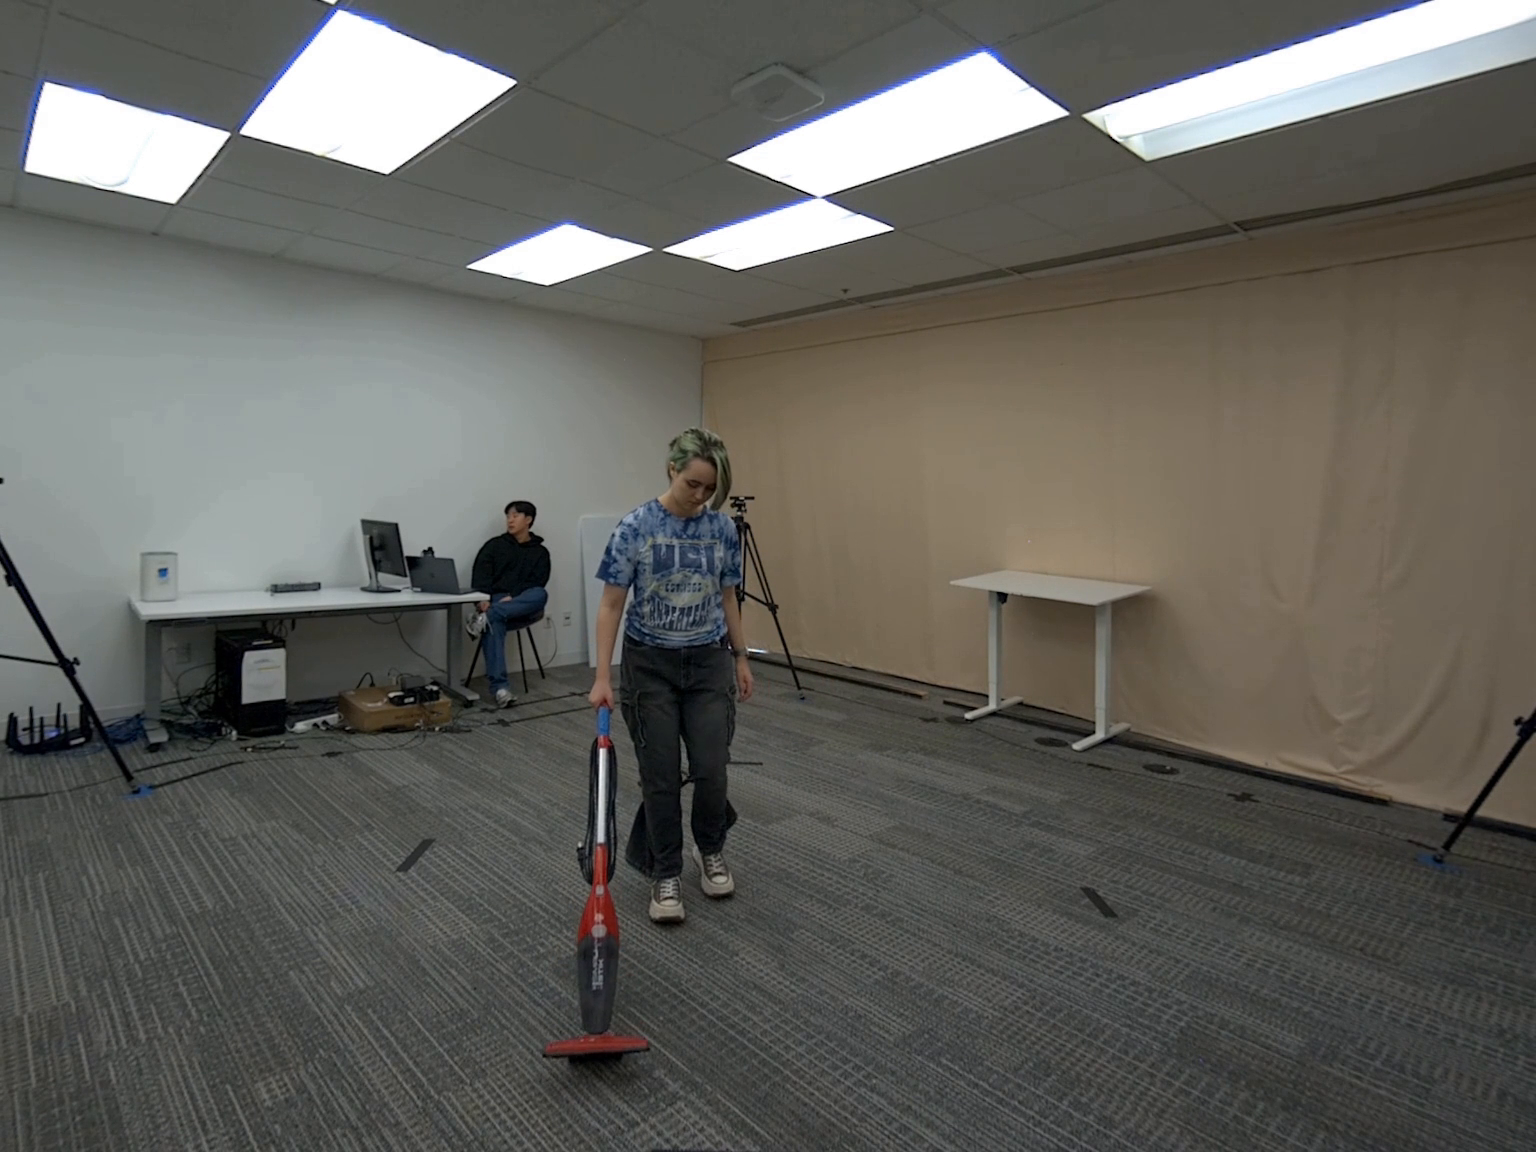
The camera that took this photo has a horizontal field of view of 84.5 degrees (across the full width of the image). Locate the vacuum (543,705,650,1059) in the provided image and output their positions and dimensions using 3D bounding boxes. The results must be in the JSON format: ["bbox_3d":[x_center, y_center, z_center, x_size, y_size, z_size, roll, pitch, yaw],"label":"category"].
[{"bbox_3d":[-0.481,0.782,2.385,0.251,0.141,1.076,1,45,-10],"label":"vacuum"}]
